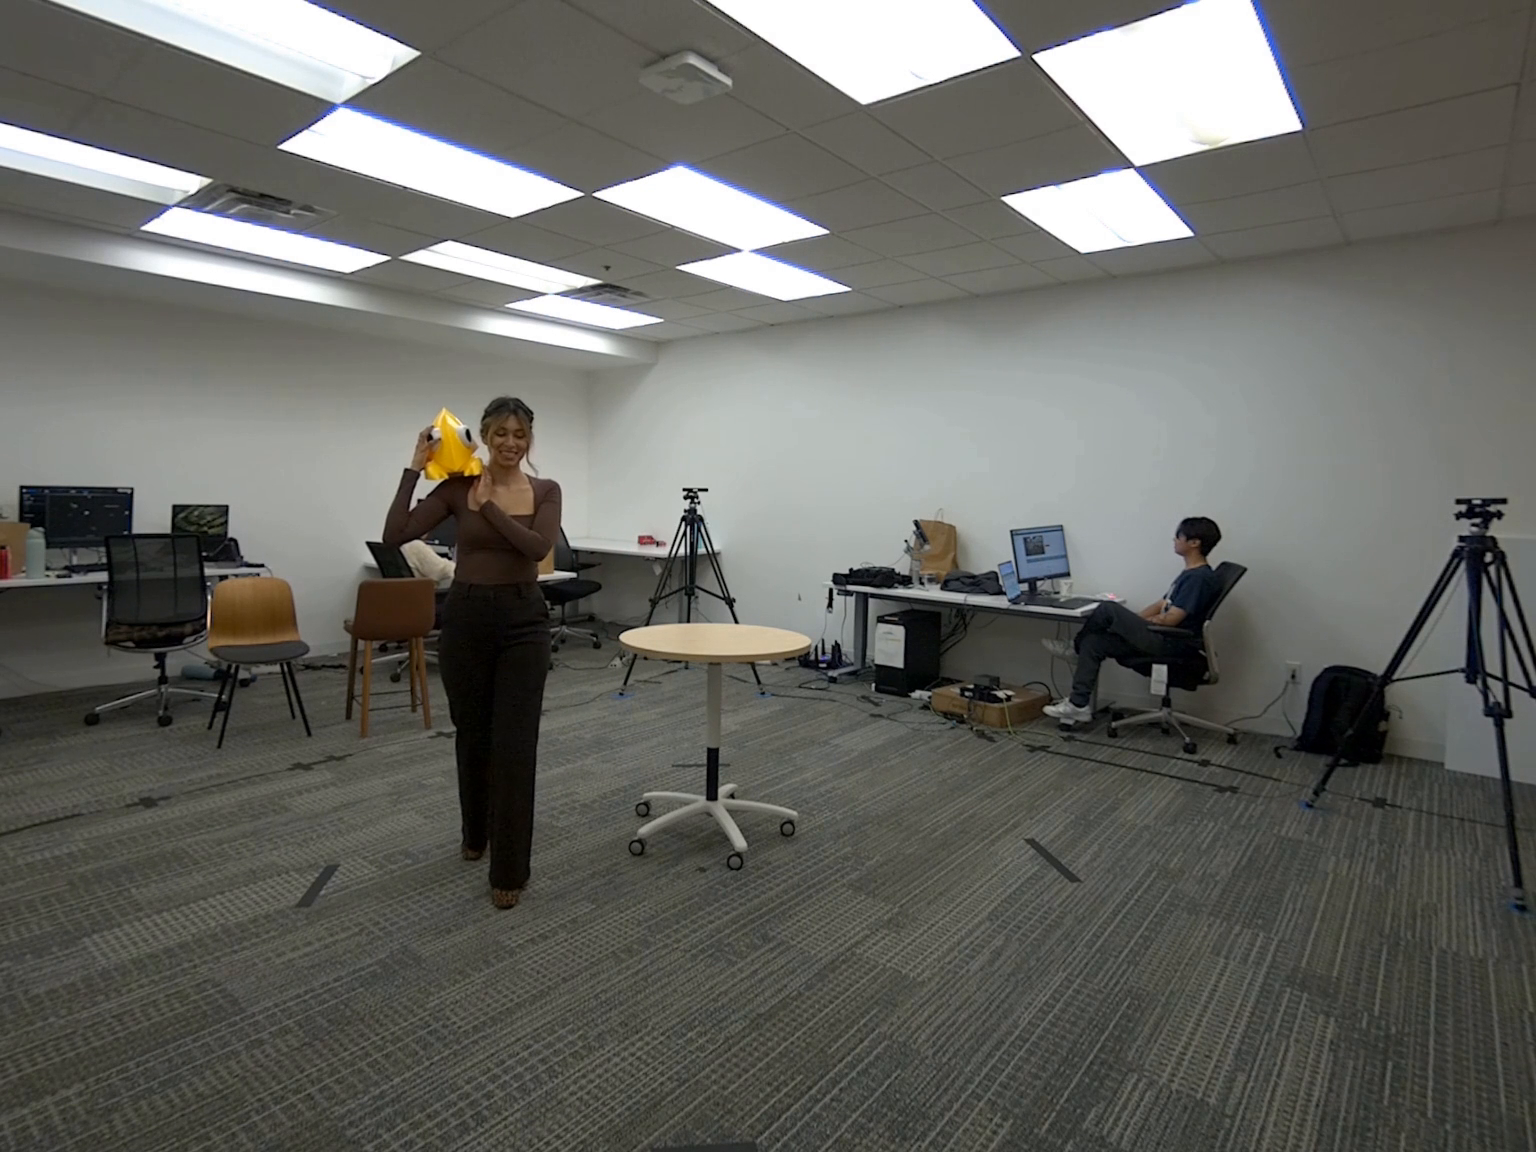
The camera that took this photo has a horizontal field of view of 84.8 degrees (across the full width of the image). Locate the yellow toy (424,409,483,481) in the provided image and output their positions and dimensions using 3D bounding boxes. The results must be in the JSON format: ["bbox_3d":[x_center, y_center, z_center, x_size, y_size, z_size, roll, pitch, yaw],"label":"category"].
[{"bbox_3d":[-1.117,-0.468,2.947,0.201,0.227,0.199,-10,14,-21],"label":"yellow toy"}]
